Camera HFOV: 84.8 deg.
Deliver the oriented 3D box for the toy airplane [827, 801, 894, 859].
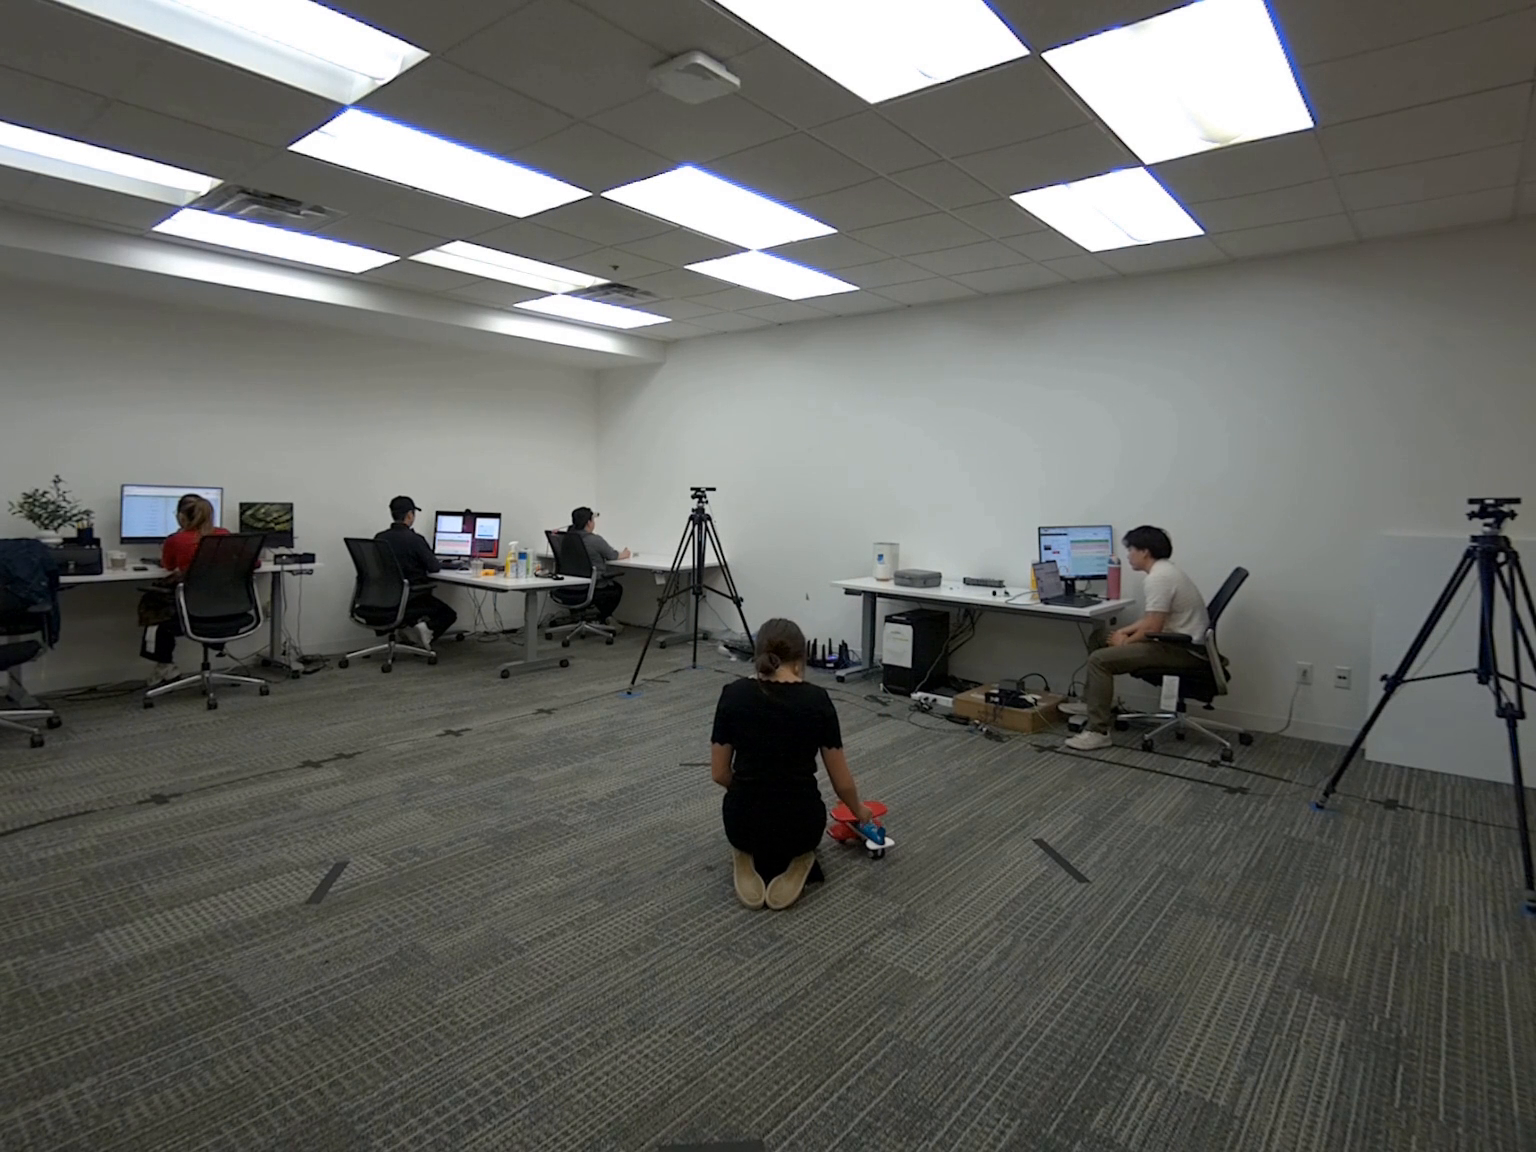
[{"bbox_3d":[0.376,0.983,3.328,0.267,0.156,0.244,3,4,32],"label":"toy airplane"}]
